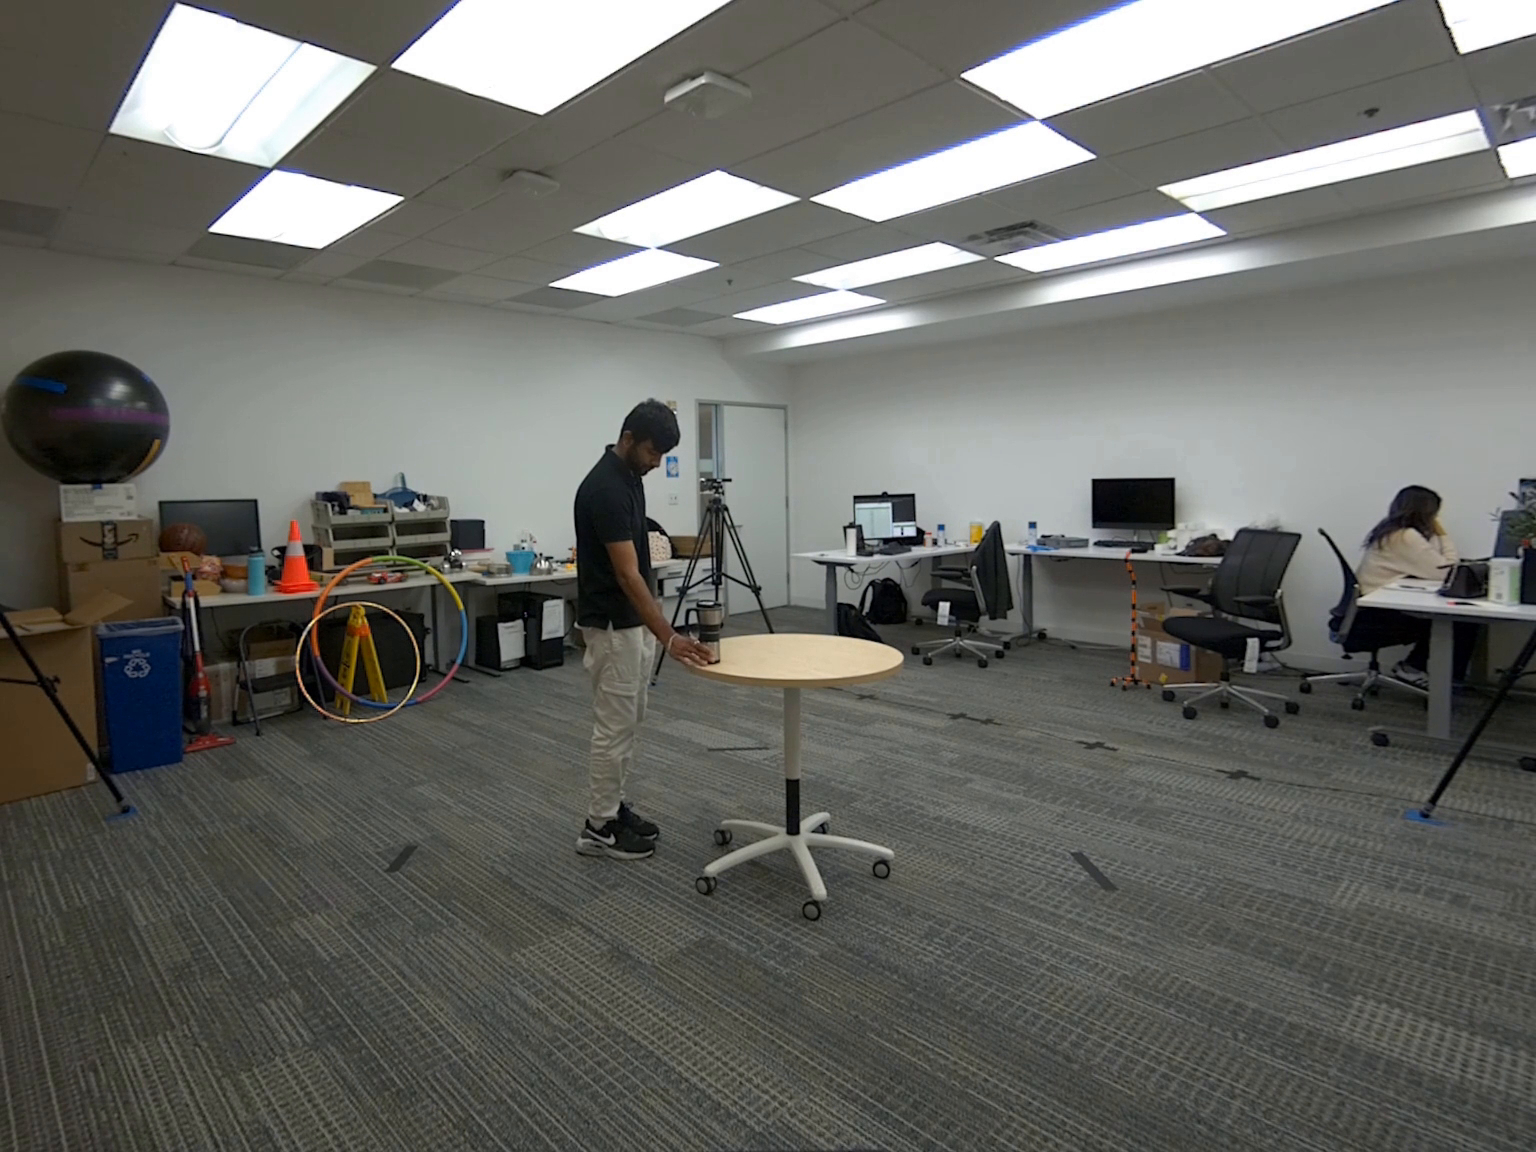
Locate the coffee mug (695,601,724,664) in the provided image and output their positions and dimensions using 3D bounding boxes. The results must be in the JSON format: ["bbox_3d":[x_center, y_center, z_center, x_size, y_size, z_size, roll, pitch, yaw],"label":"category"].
[{"bbox_3d":[-0.209,0.185,2.863,0.125,0.201,0.086,6,9,33],"label":"coffee mug"}]
